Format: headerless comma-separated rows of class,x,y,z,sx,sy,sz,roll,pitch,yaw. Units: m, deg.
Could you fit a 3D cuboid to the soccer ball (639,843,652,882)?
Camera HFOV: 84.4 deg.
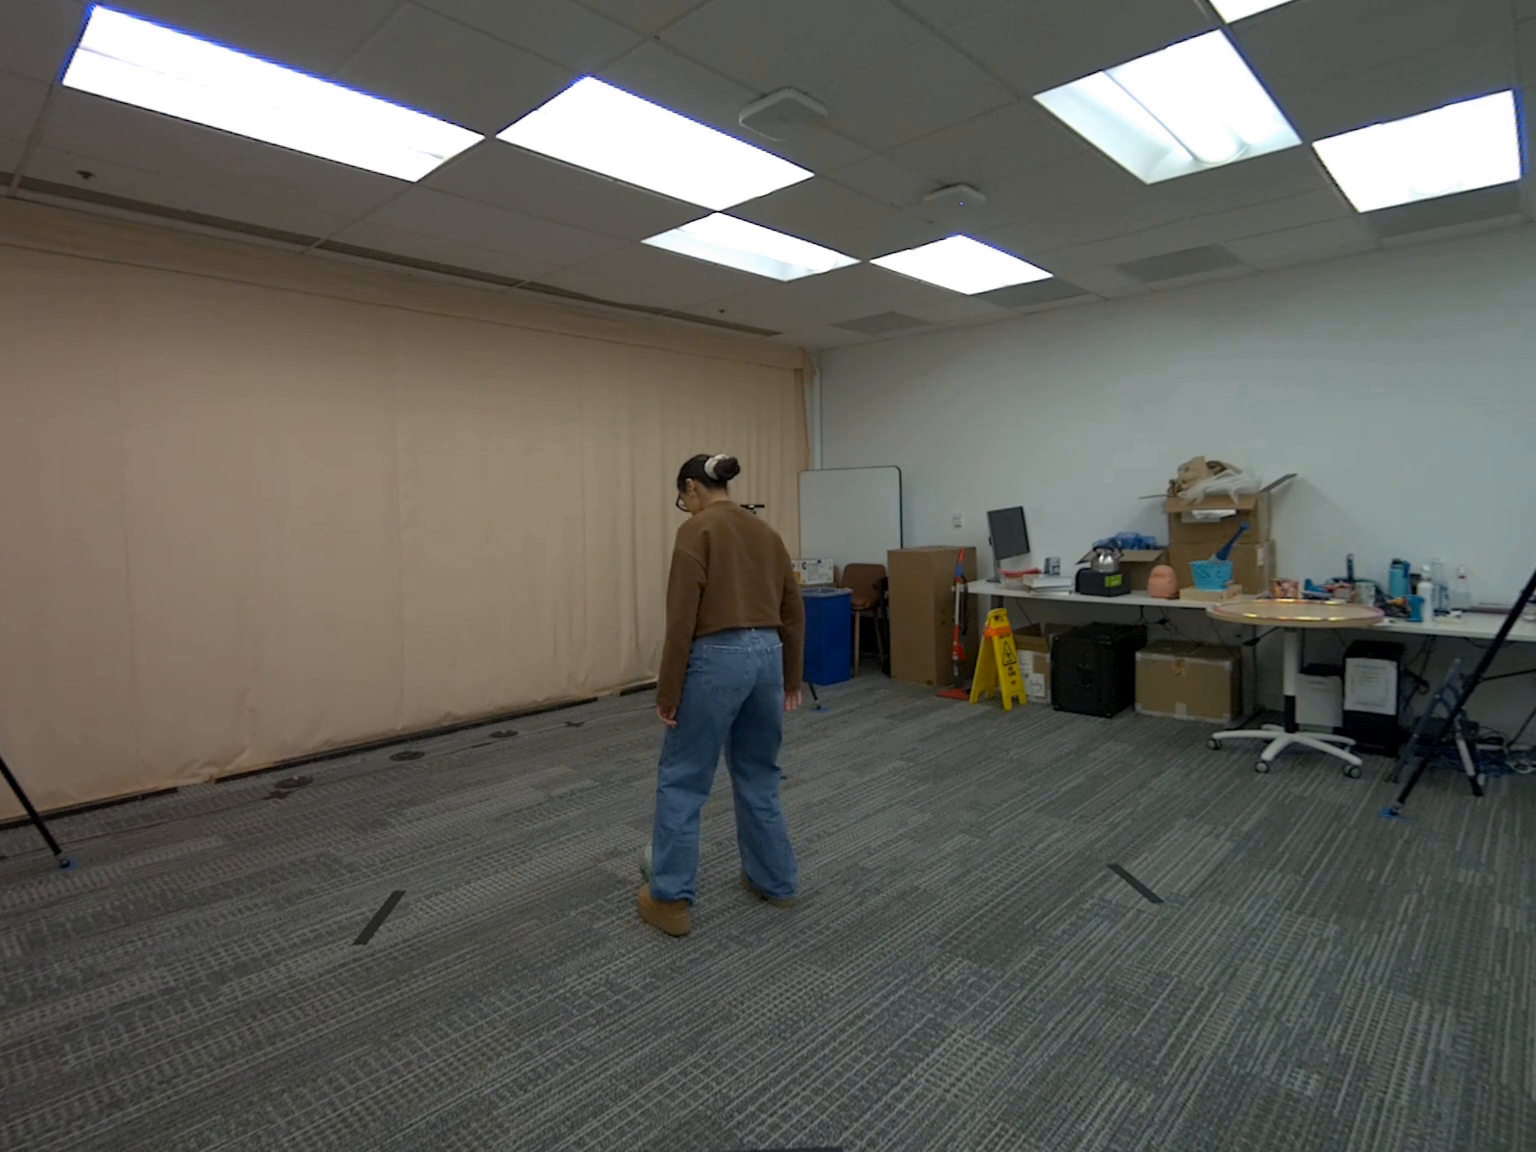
soccer ball,-0.378,1.048,3.079,0.187,0.187,0.188,-1,4,-2
